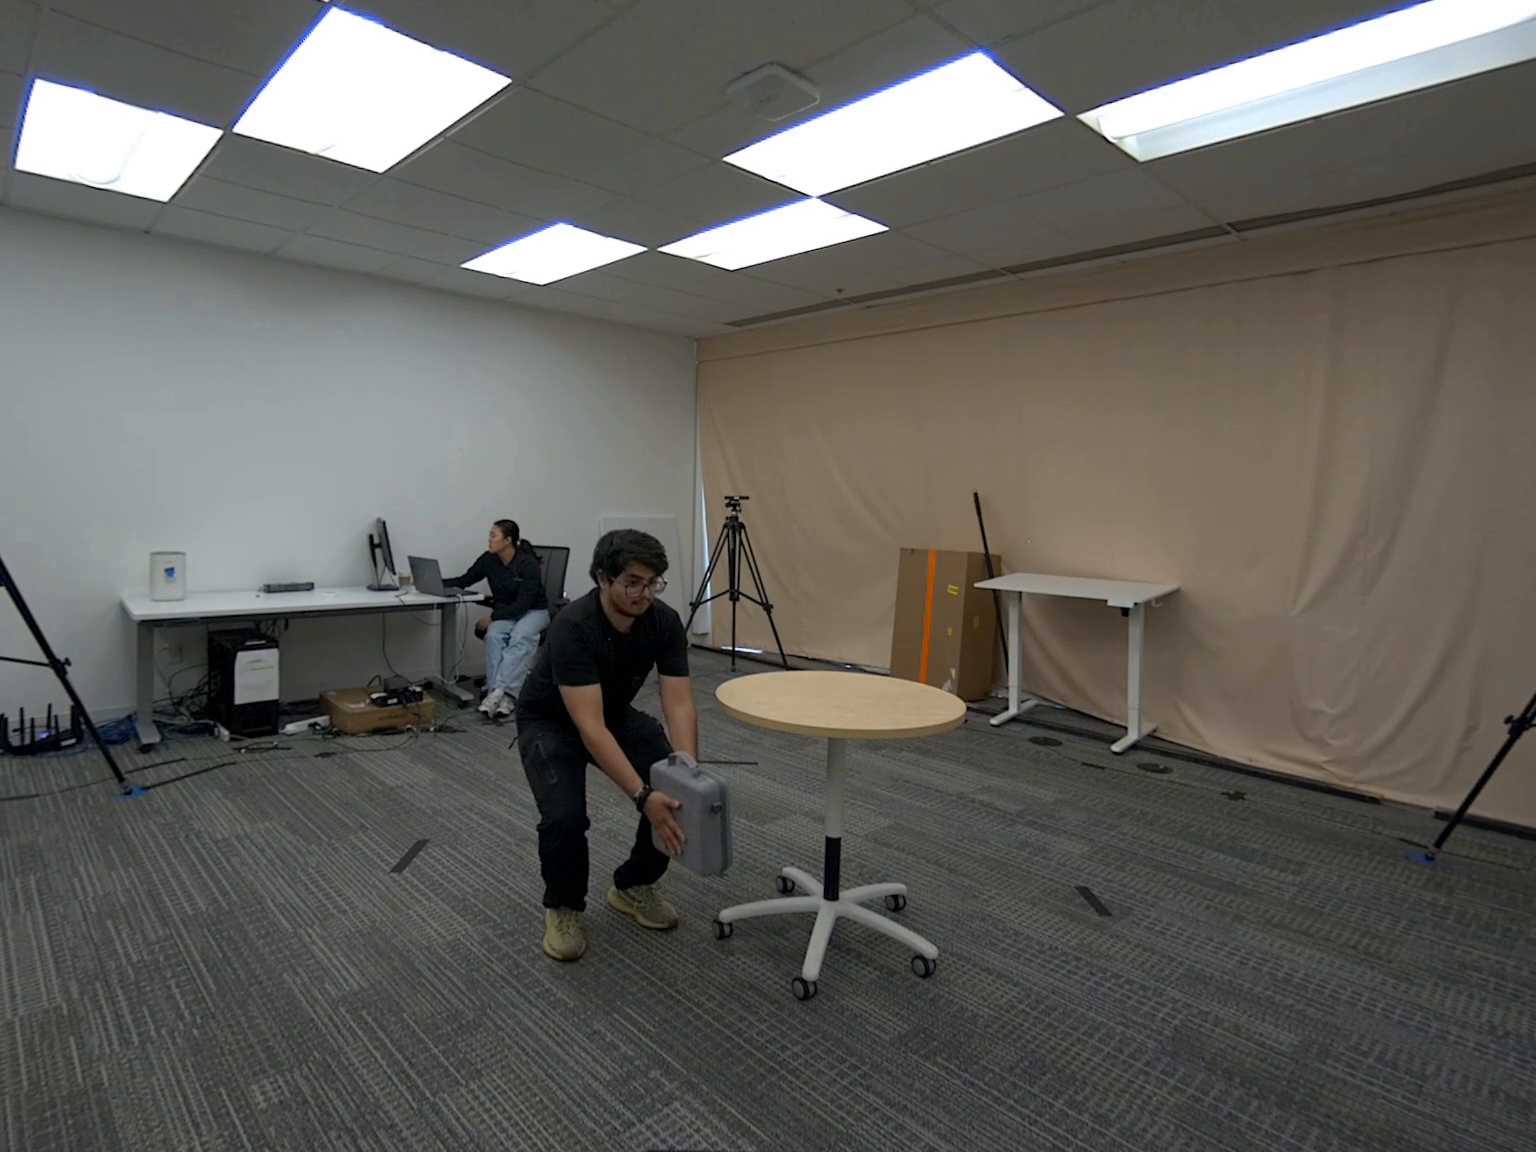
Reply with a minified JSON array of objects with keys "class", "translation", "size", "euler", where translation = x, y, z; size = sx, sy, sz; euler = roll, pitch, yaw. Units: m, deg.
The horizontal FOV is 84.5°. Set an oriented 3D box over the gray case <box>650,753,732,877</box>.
[{"class":"gray case","translation":[-0.212,0.638,2.243],"size":[0.102,0.259,0.263],"euler":[-6,8,-39]}]
